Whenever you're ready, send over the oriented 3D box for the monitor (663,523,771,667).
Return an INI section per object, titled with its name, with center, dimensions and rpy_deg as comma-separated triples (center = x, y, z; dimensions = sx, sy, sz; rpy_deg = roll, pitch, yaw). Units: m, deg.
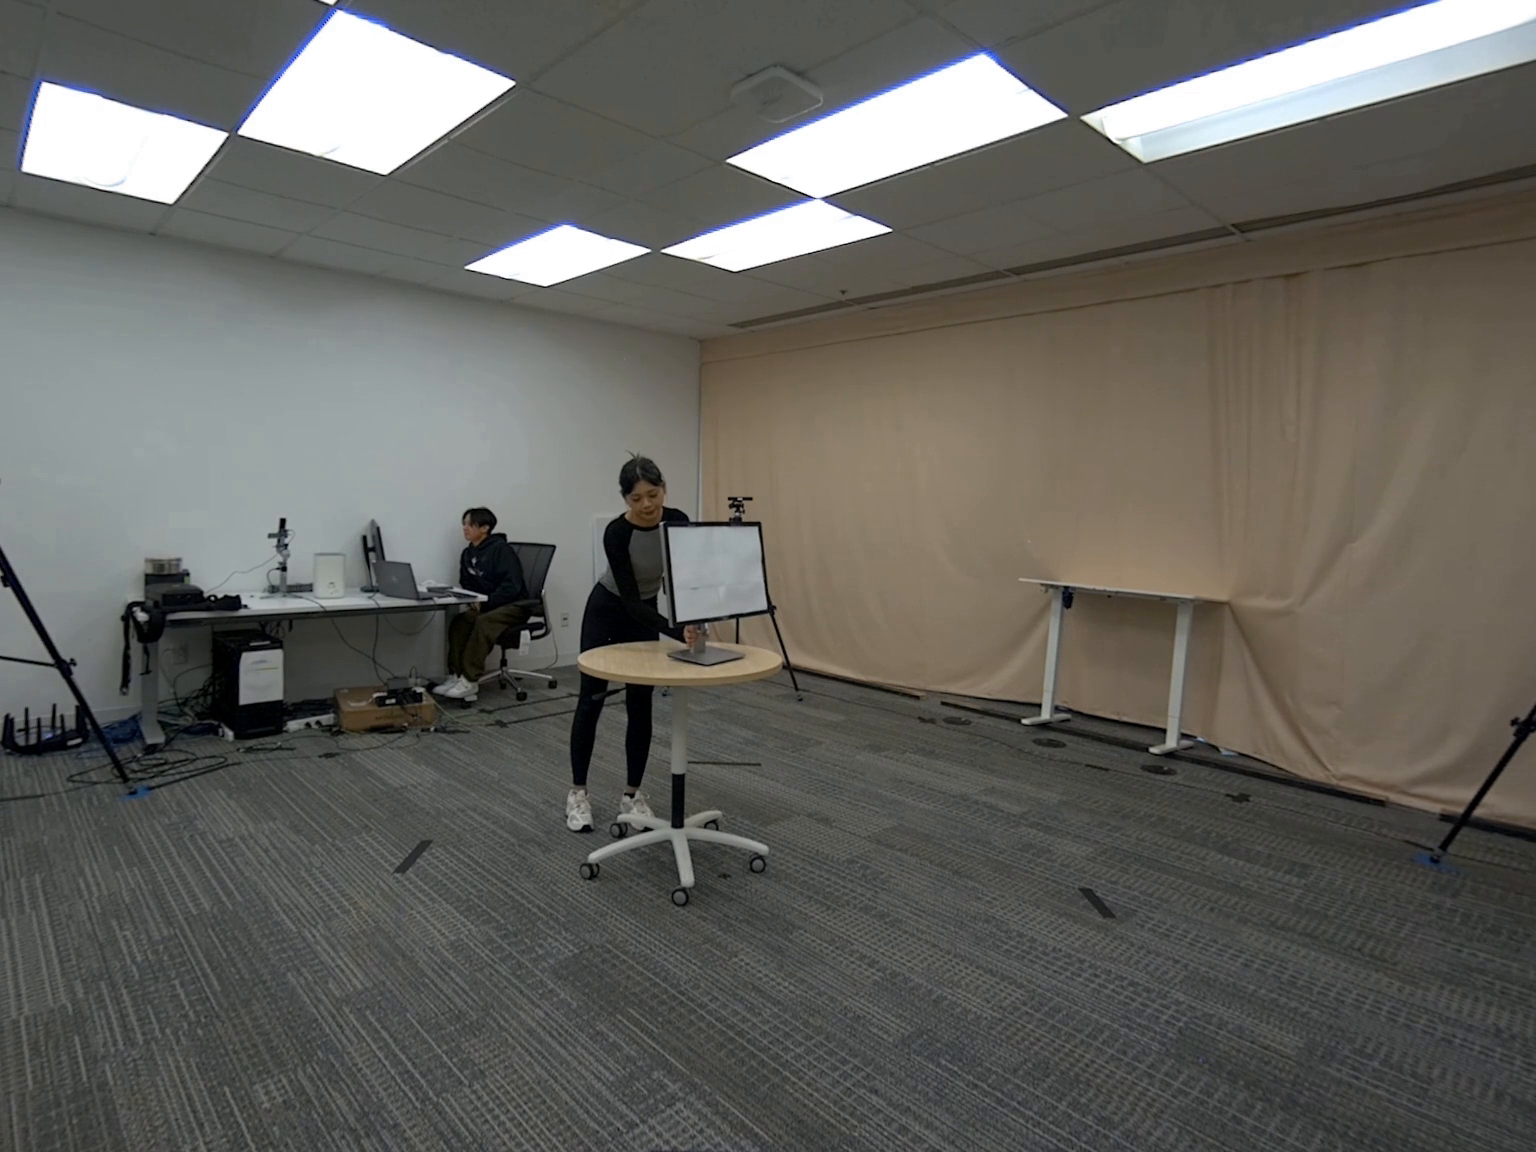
[monitor]
center = -0.226, 0.061, 3.127
dimensions = 0.192, 0.520, 0.527
rpy_deg = 10, 9, 35
